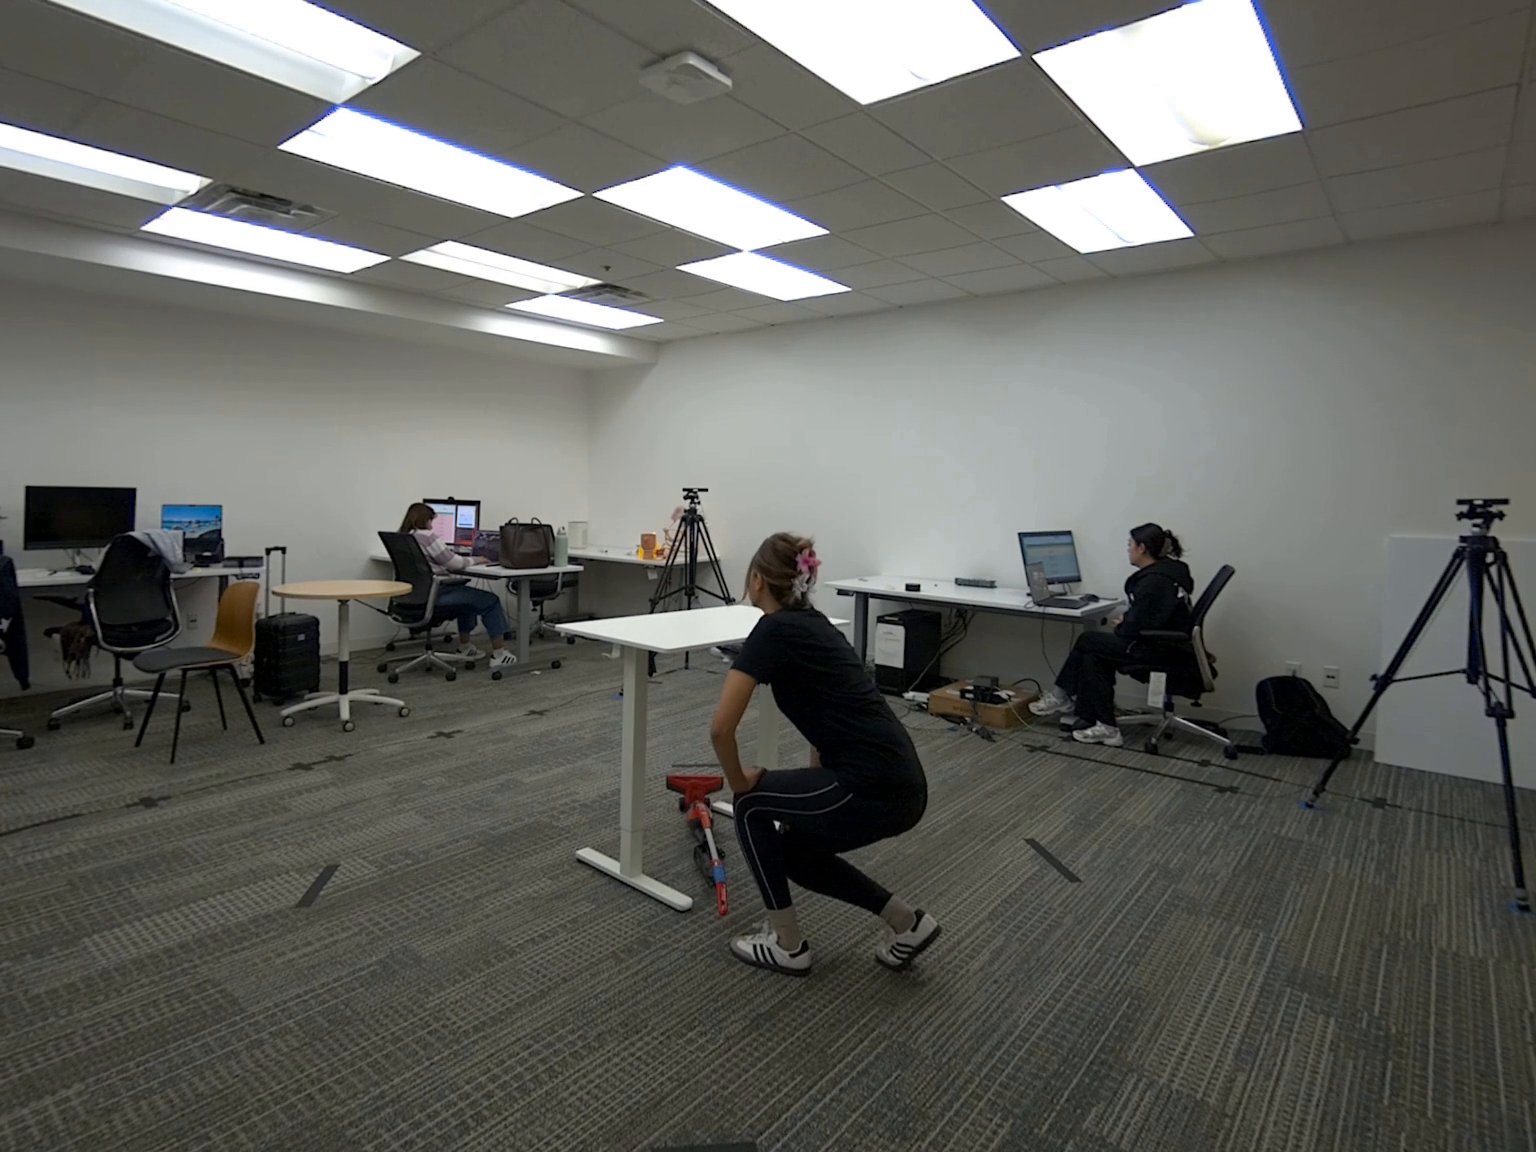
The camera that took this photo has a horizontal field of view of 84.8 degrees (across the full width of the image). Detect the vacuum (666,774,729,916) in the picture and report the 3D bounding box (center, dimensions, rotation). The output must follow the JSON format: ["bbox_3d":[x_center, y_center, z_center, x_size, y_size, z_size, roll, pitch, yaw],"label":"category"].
[{"bbox_3d":[-0.236,0.995,3.193,0.250,0.143,1.066,3,7,-11],"label":"vacuum"}]
